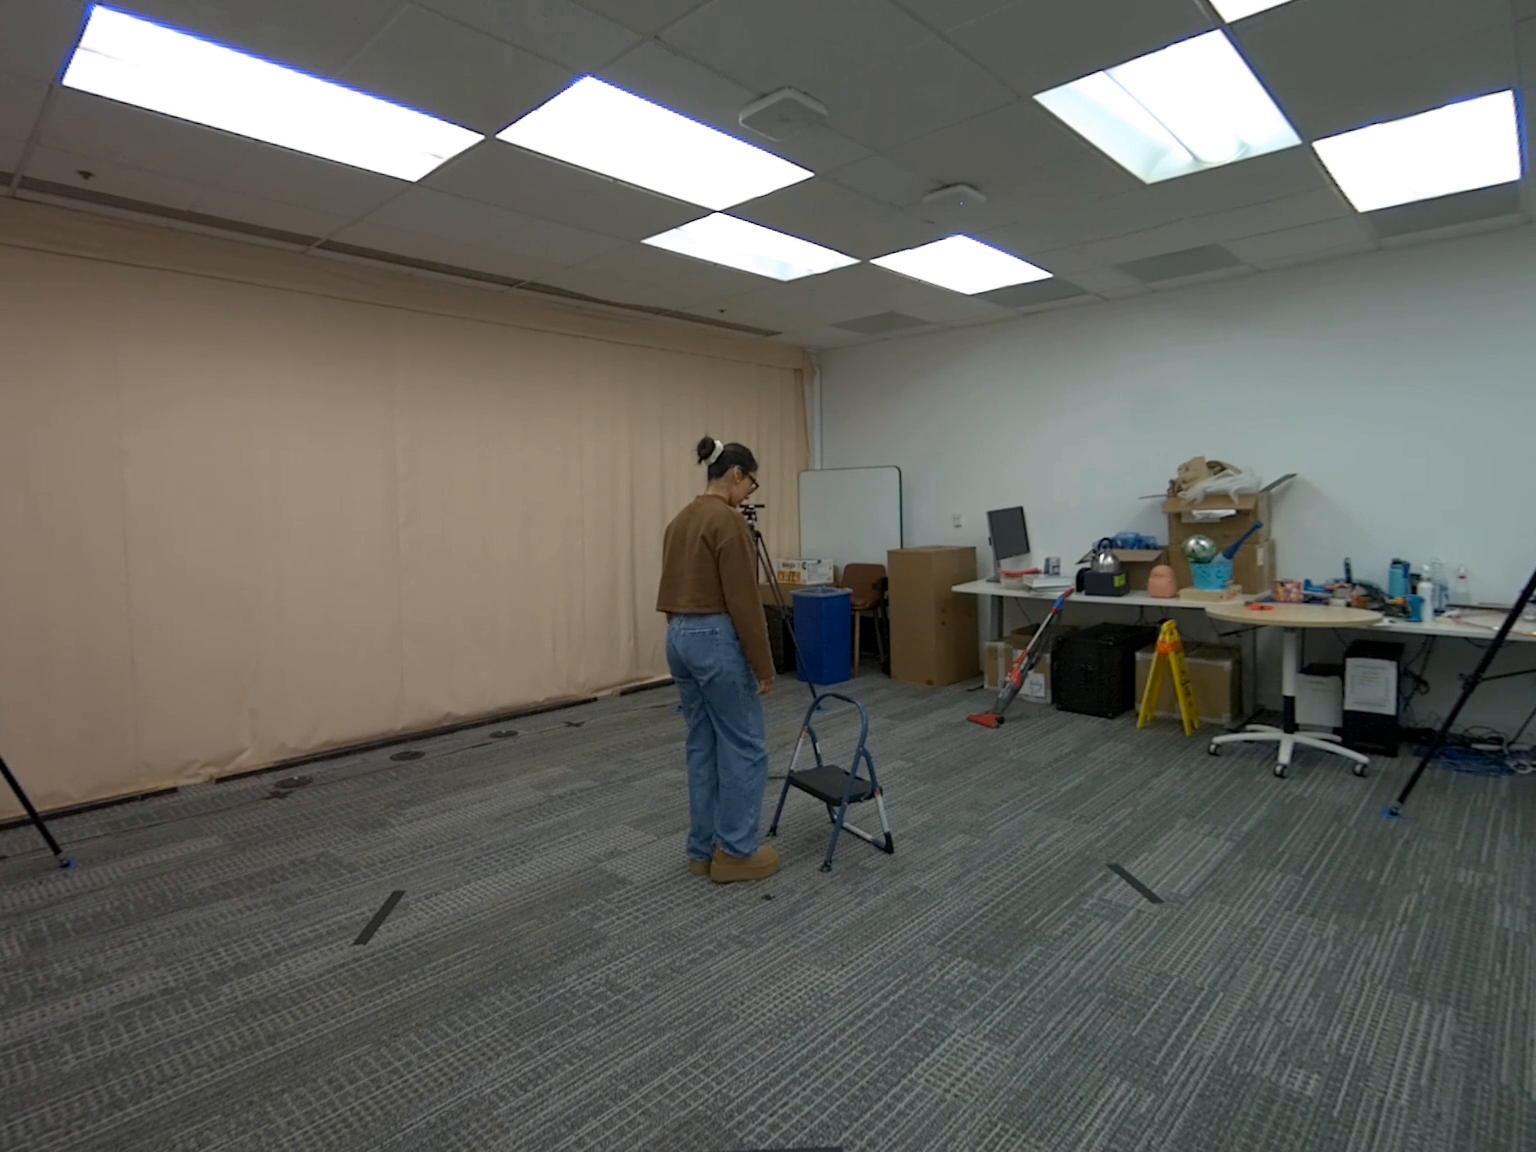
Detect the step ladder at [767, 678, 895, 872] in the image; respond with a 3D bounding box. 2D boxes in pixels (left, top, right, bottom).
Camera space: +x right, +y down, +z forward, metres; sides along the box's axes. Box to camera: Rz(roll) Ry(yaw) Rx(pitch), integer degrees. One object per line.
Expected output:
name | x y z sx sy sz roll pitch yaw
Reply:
step ladder | 0.249 0.791 3.428 0.340 0.605 0.443 -3 4 -30
